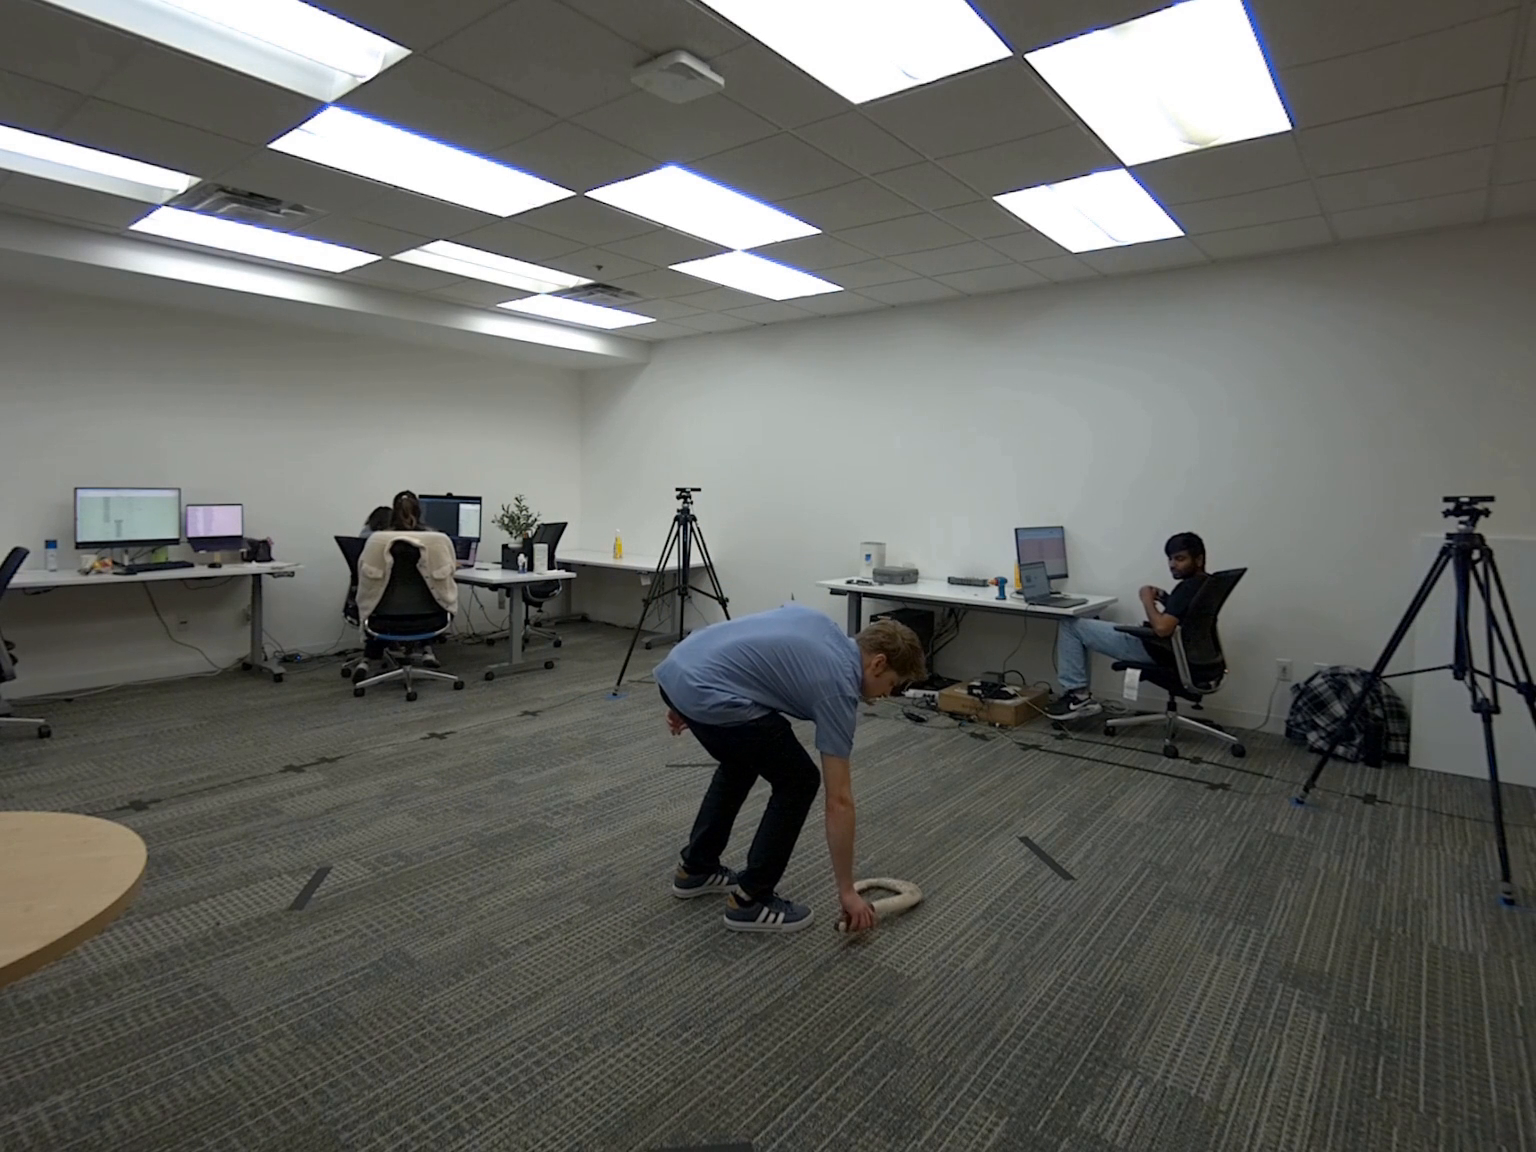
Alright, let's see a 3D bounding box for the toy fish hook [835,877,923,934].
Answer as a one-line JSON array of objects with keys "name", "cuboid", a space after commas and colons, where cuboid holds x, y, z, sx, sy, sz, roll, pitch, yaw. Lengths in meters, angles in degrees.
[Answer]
[{"name": "toy fish hook", "cuboid": [0.319, 1.078, 2.807, 0.231, 0.048, 0.490, -2, -3, 38]}]
